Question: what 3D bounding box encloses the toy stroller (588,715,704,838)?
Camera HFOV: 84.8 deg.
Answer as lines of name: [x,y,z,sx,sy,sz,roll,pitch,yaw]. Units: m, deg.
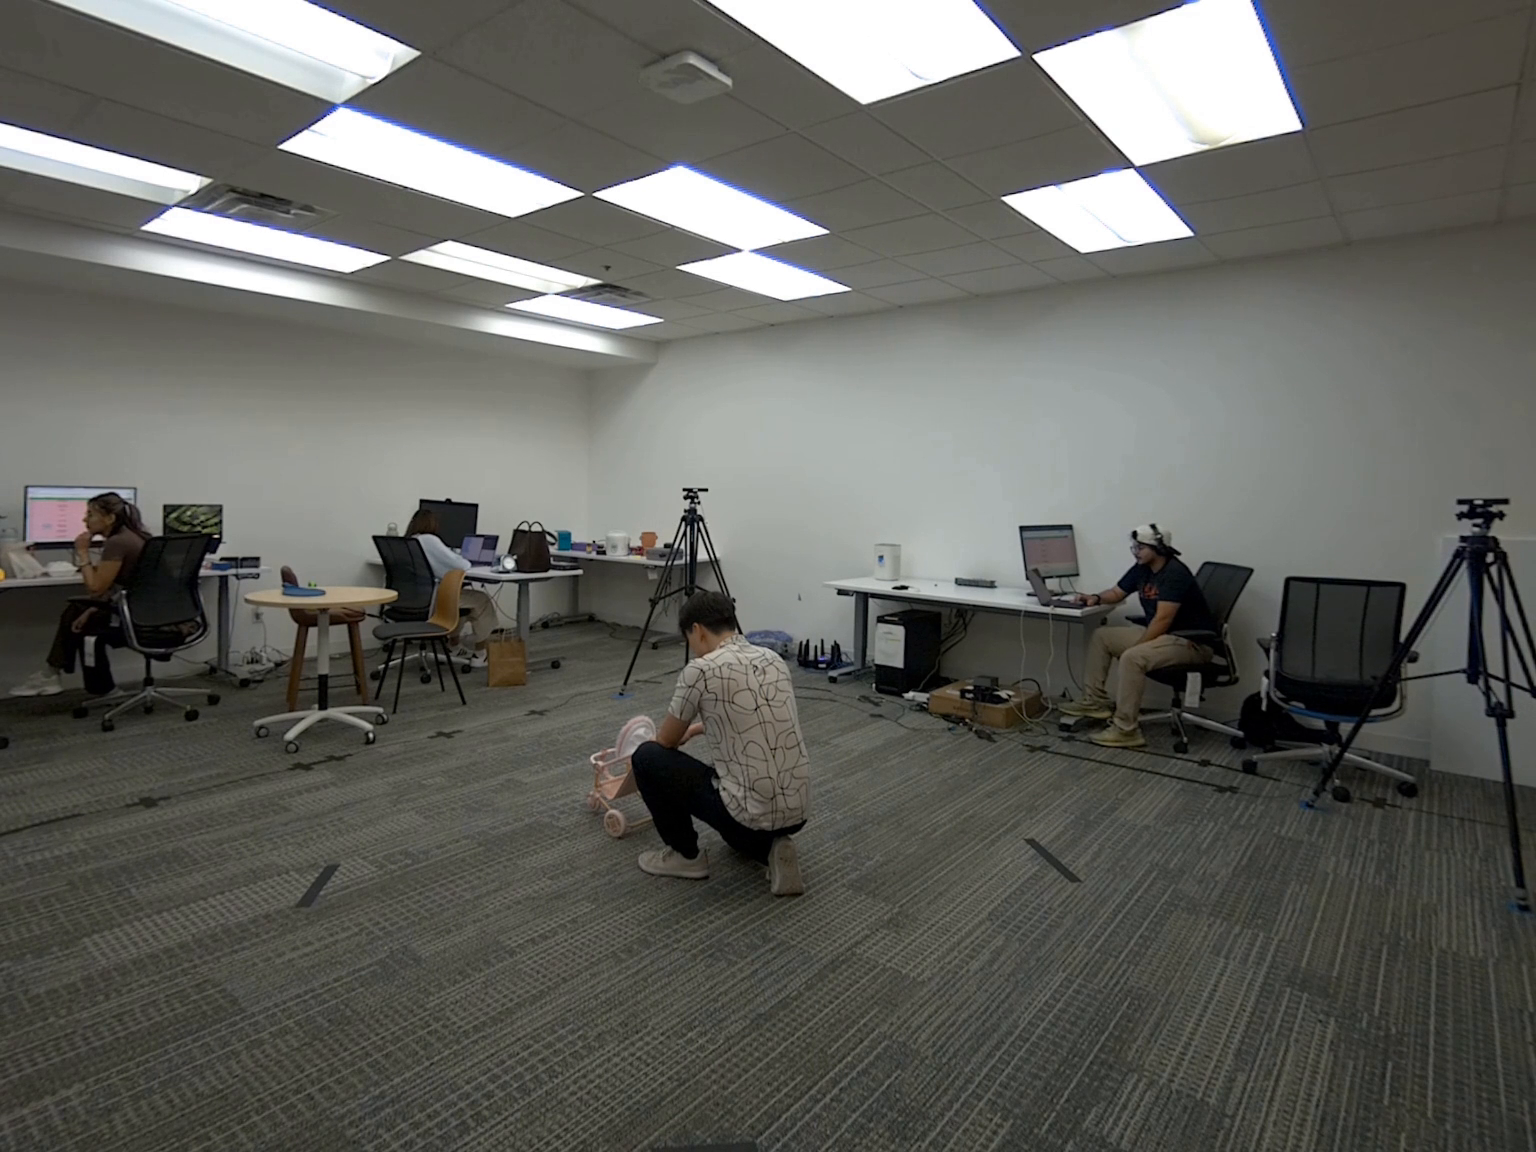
toy stroller: [-0.584,0.802,3.505,0.355,0.530,0.272,30,18,36]
